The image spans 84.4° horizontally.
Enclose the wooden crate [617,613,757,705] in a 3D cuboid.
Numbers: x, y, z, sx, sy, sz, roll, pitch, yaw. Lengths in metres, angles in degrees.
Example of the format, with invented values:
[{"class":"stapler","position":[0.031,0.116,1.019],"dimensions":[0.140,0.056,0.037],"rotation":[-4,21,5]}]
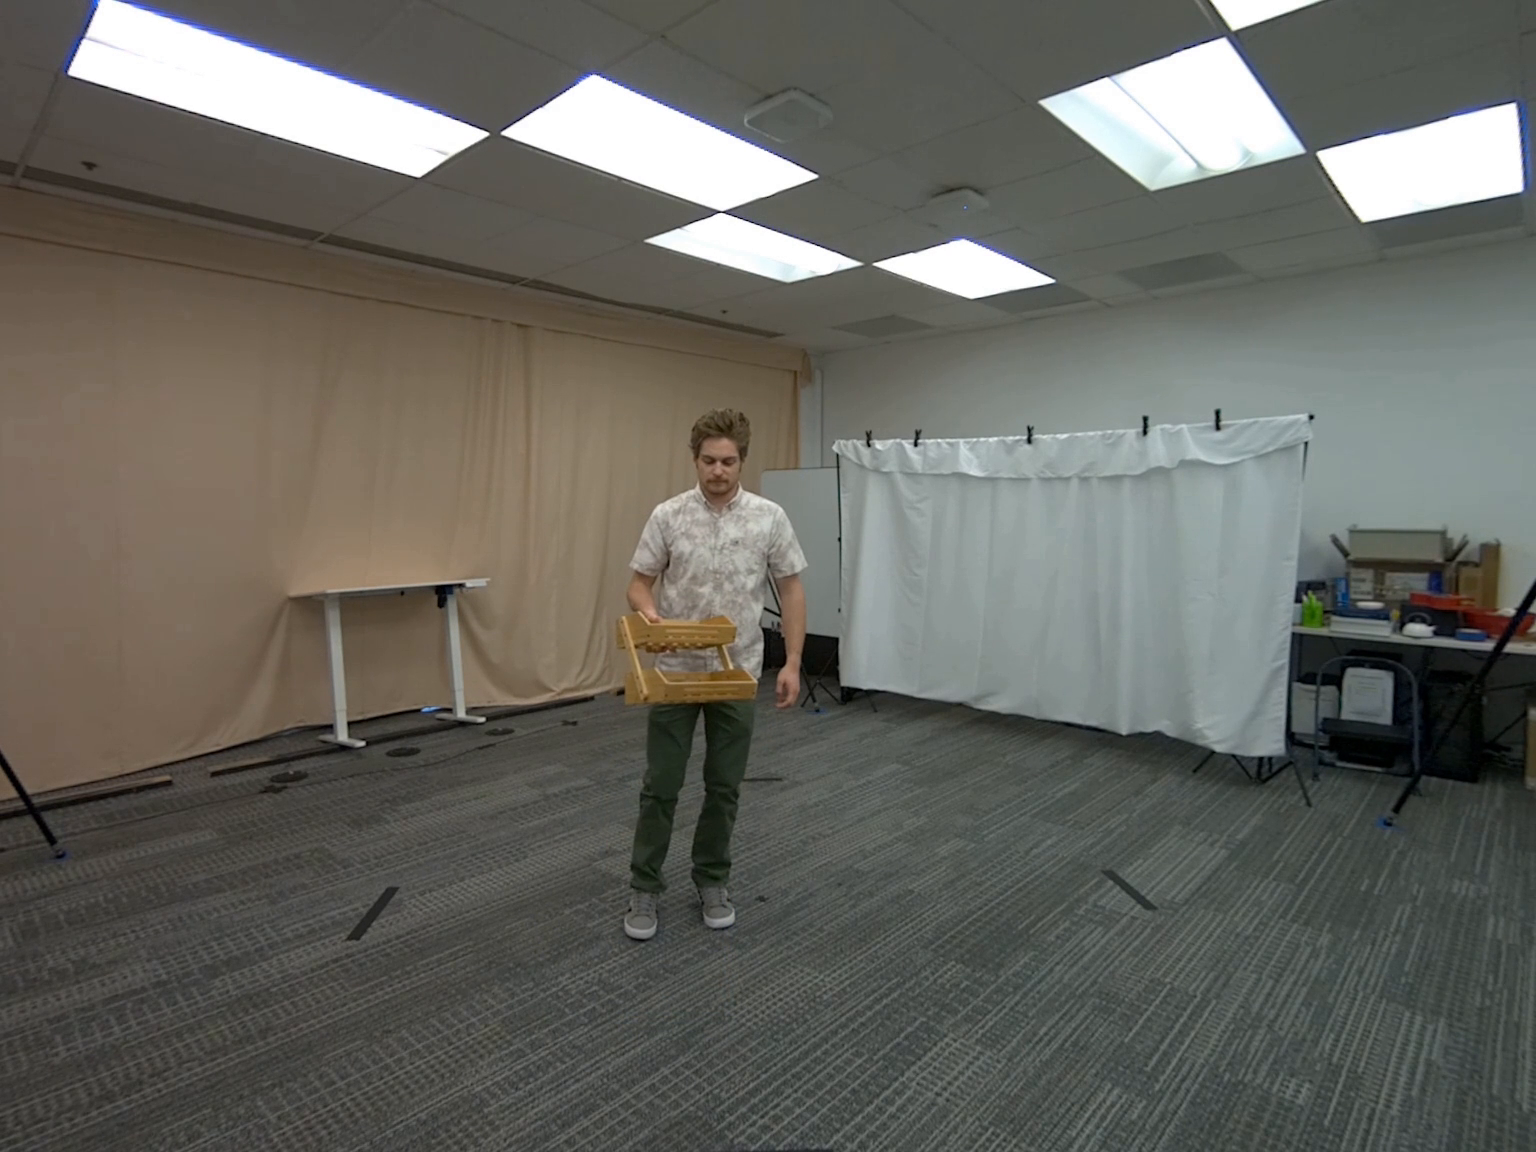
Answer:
[{"class":"wooden crate","position":[-0.247,0.235,2.475],"dimensions":[0.315,0.275,0.308],"rotation":[4,-14,-32]}]
